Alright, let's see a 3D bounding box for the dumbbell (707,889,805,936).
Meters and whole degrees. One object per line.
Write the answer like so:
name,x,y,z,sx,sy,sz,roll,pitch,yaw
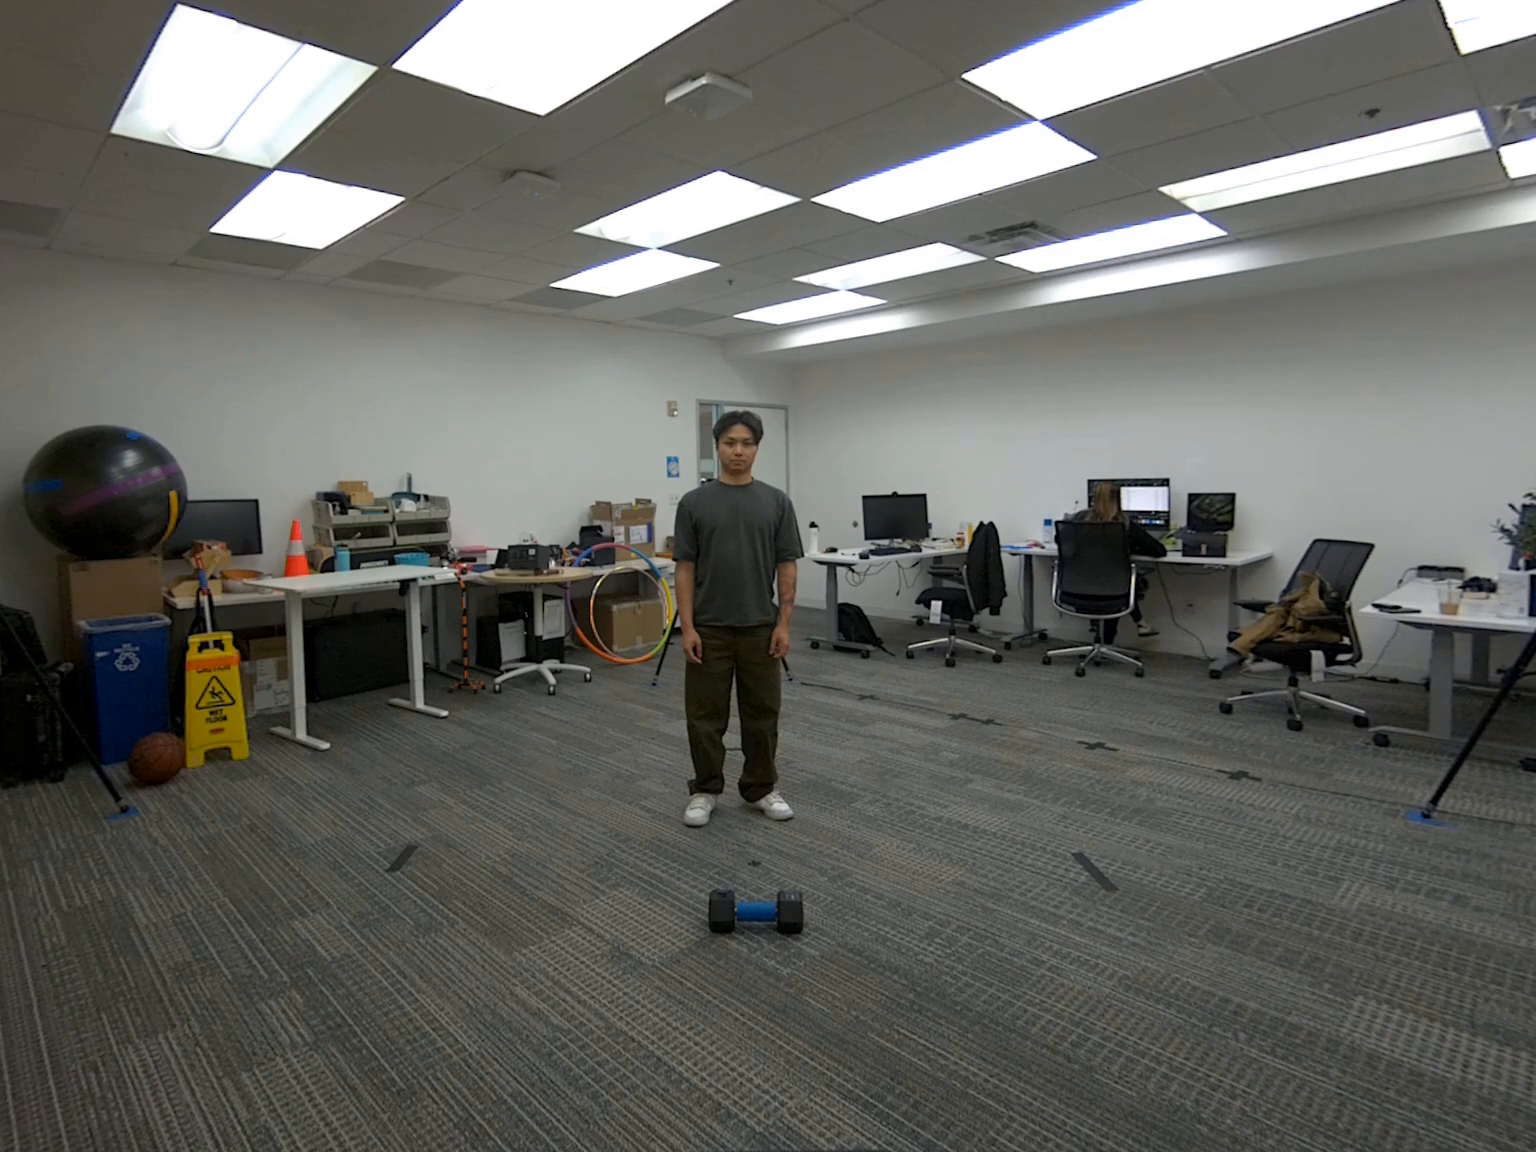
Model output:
dumbbell,-0.035,1.049,2.661,0.294,0.125,0.106,-1,-26,3
